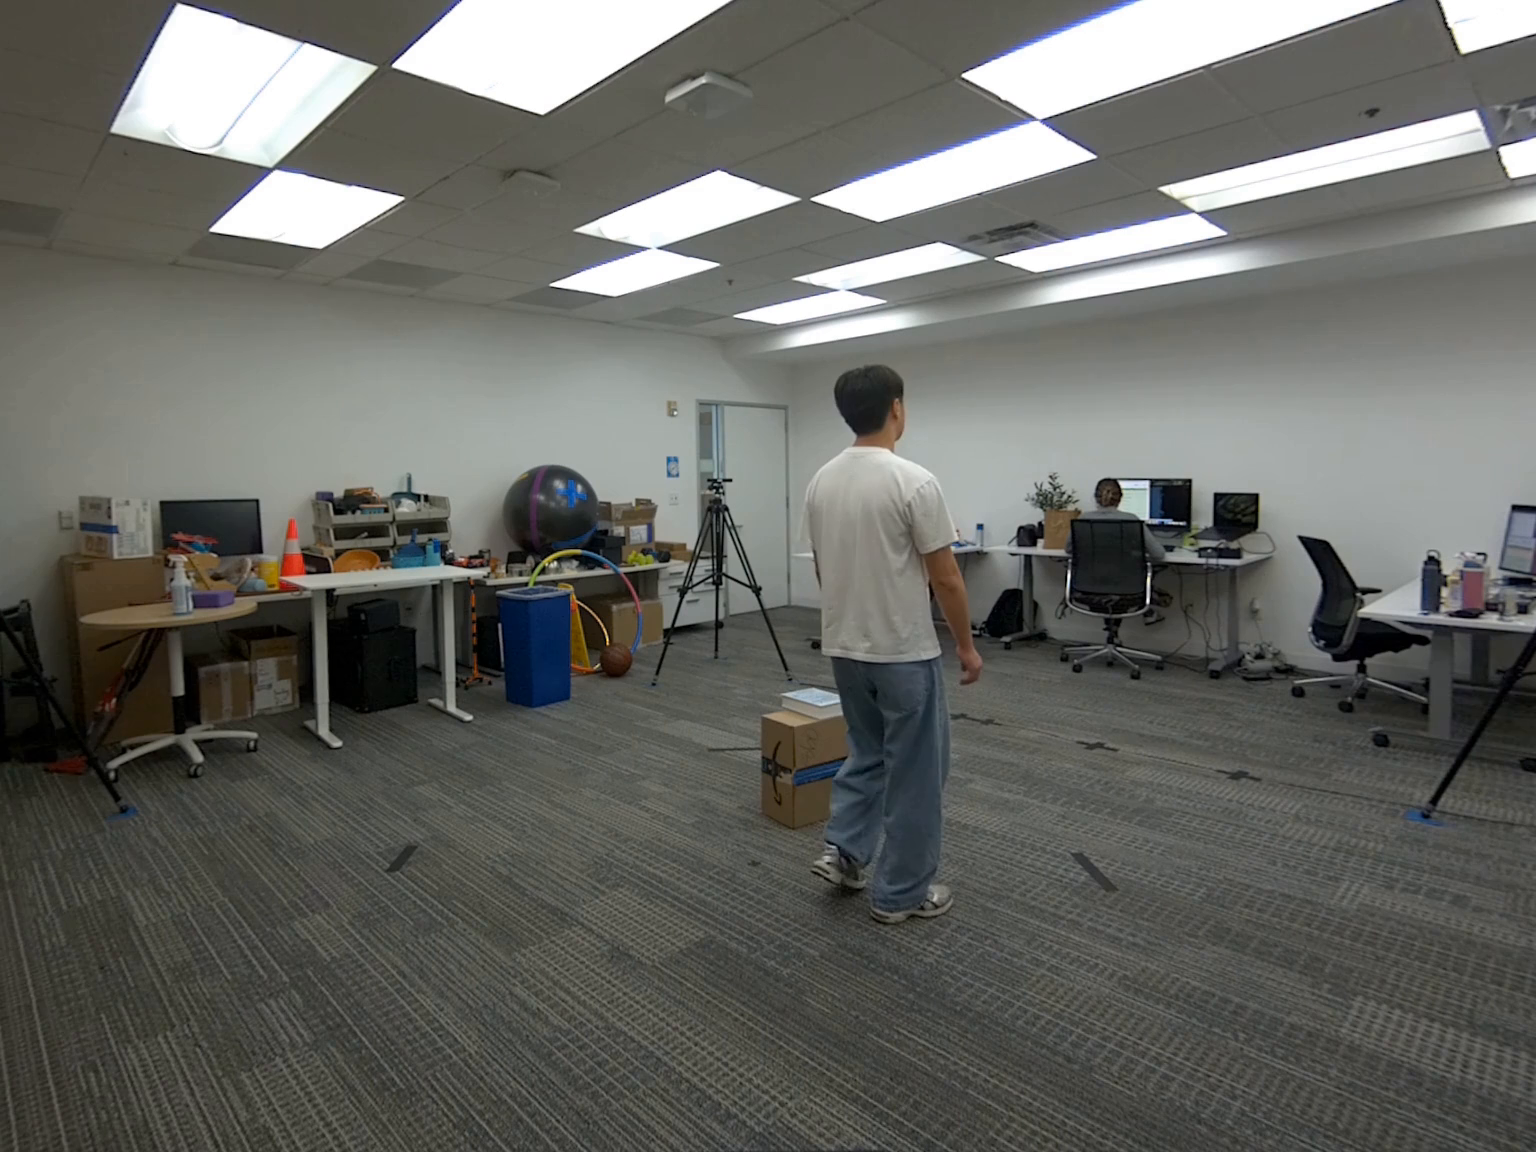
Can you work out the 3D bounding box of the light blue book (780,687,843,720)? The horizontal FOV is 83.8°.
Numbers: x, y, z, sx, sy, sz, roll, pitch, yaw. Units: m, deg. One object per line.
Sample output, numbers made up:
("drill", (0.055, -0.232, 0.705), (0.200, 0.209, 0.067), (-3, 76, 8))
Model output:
("light blue book", (0.214, 0.540, 3.637), (0.187, 0.059, 0.269), (-6, 7, -35))
